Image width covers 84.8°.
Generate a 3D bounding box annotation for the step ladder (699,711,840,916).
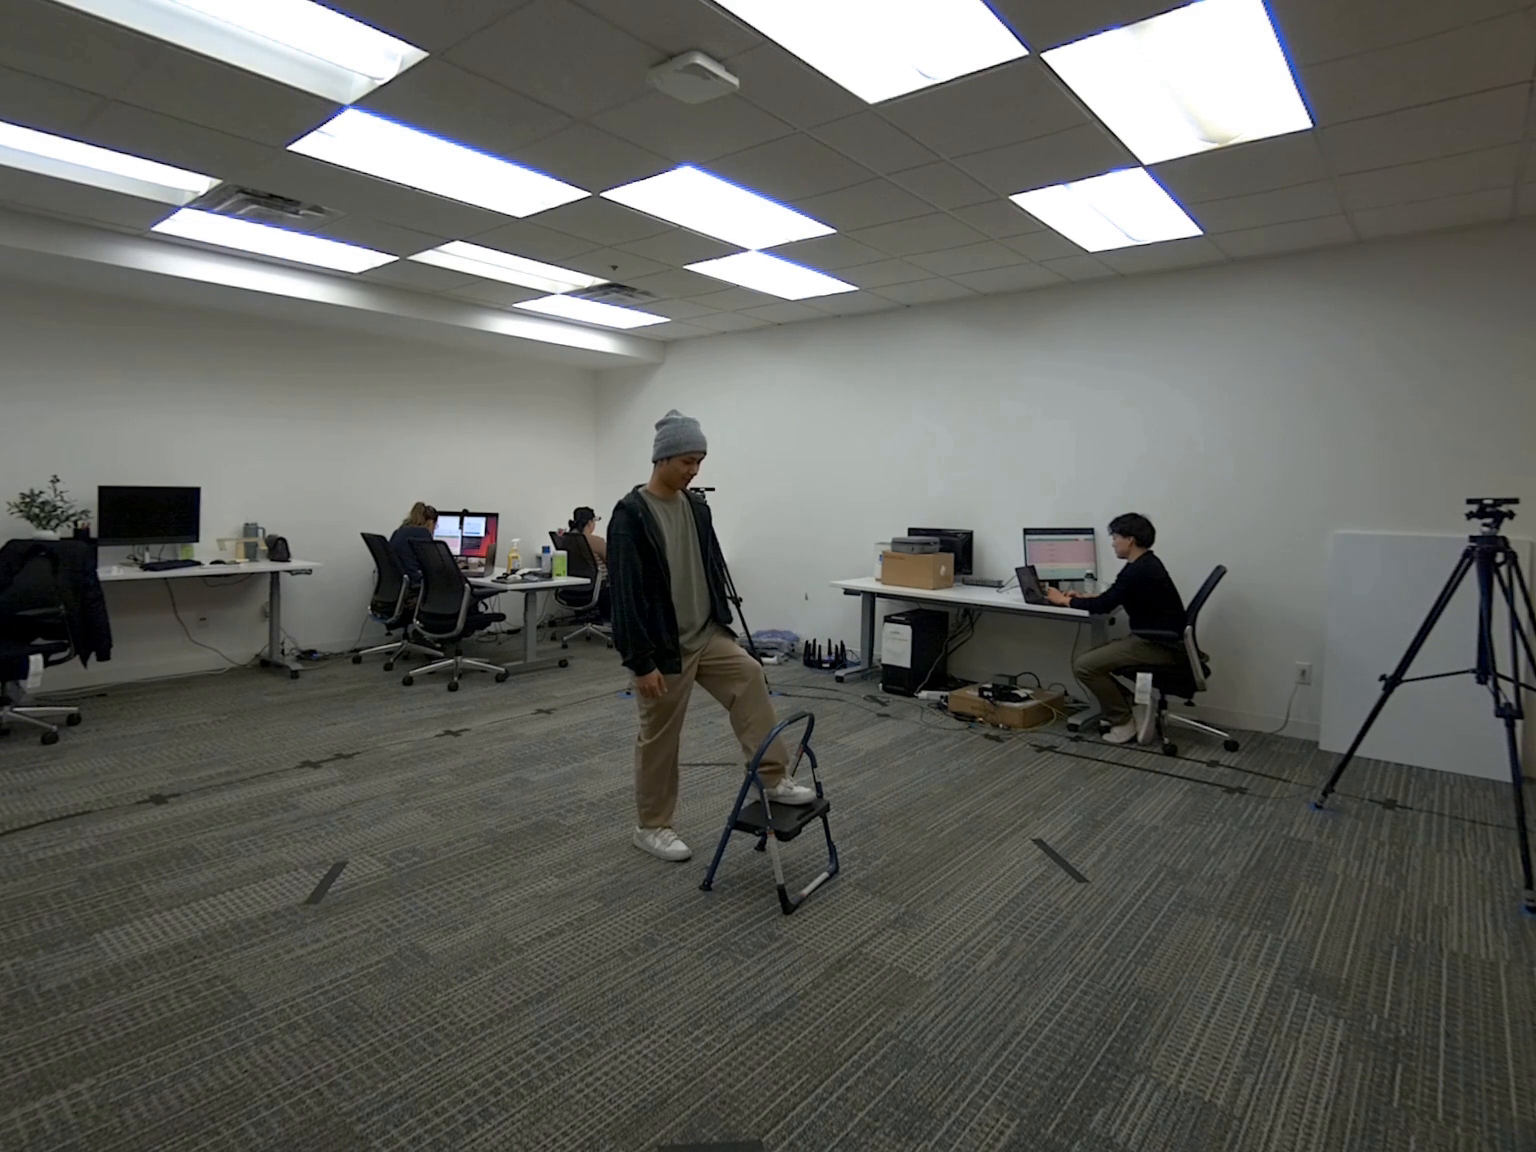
[{"bbox_3d":[0.015,0.777,3.017,0.359,0.604,0.420,4,4,29],"label":"step ladder"}]
